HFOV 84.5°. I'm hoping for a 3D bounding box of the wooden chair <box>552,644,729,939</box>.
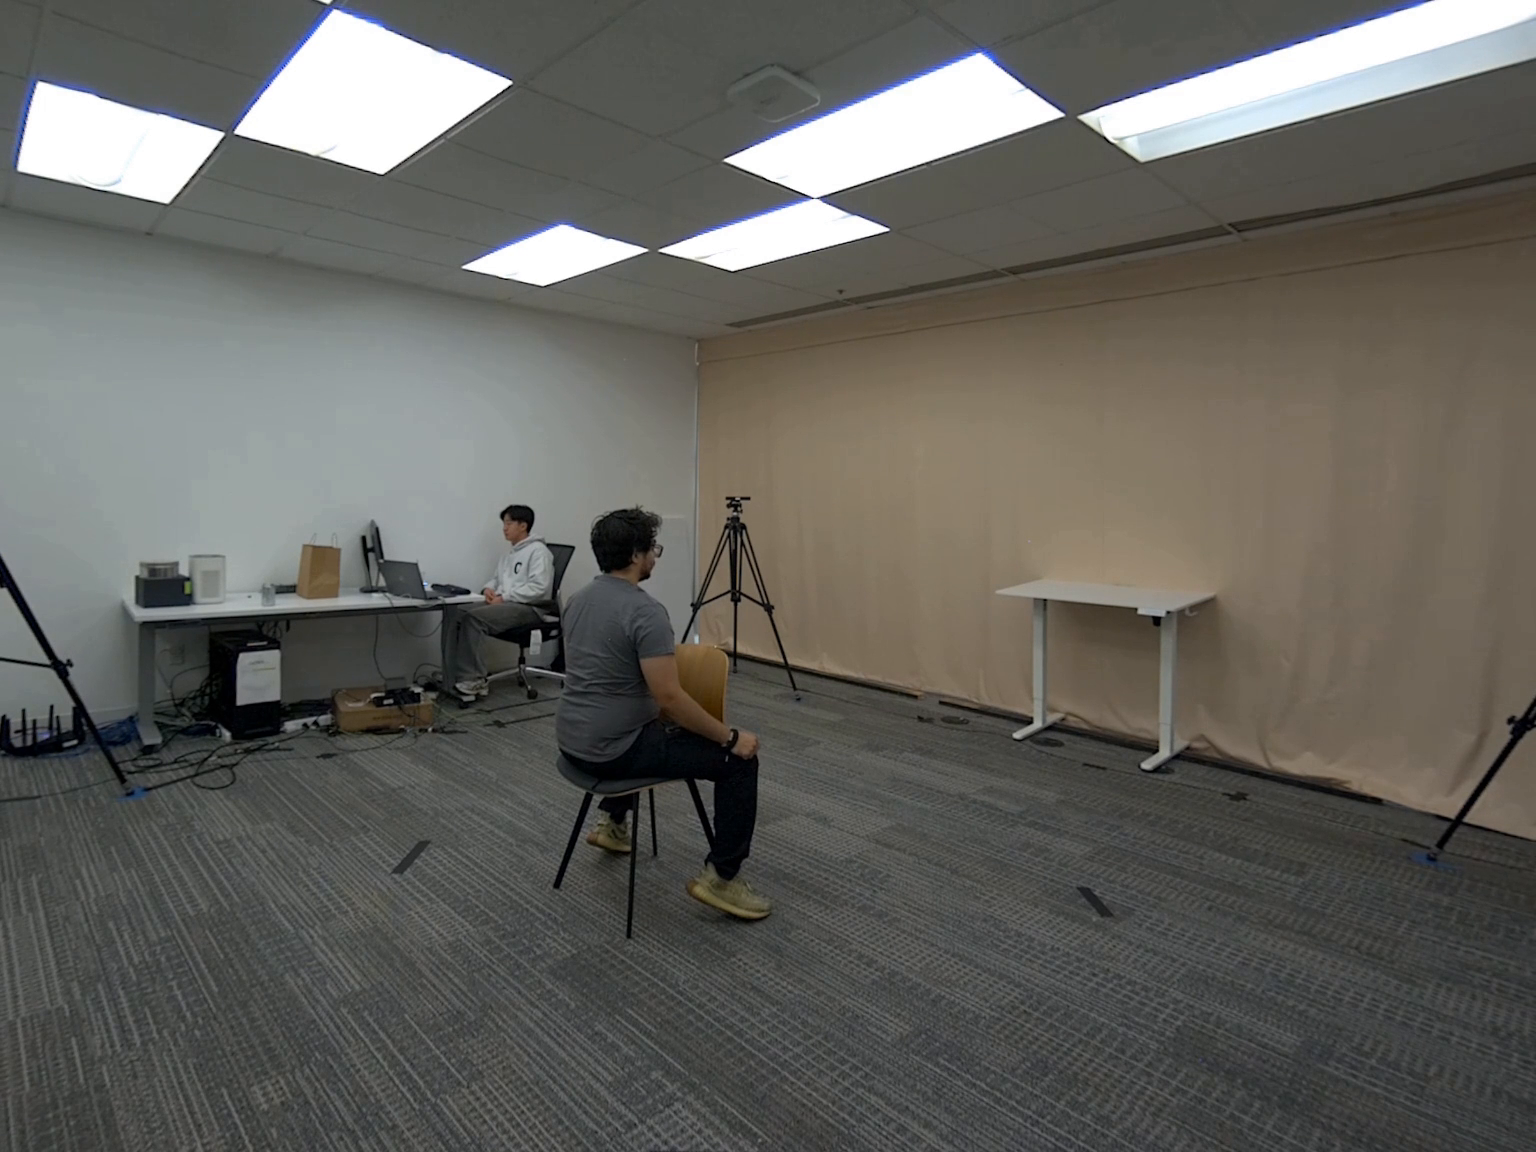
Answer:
[{"bbox_3d":[-0.439,0.696,2.924,0.510,0.877,0.490,3,1,-43],"label":"wooden chair"}]
